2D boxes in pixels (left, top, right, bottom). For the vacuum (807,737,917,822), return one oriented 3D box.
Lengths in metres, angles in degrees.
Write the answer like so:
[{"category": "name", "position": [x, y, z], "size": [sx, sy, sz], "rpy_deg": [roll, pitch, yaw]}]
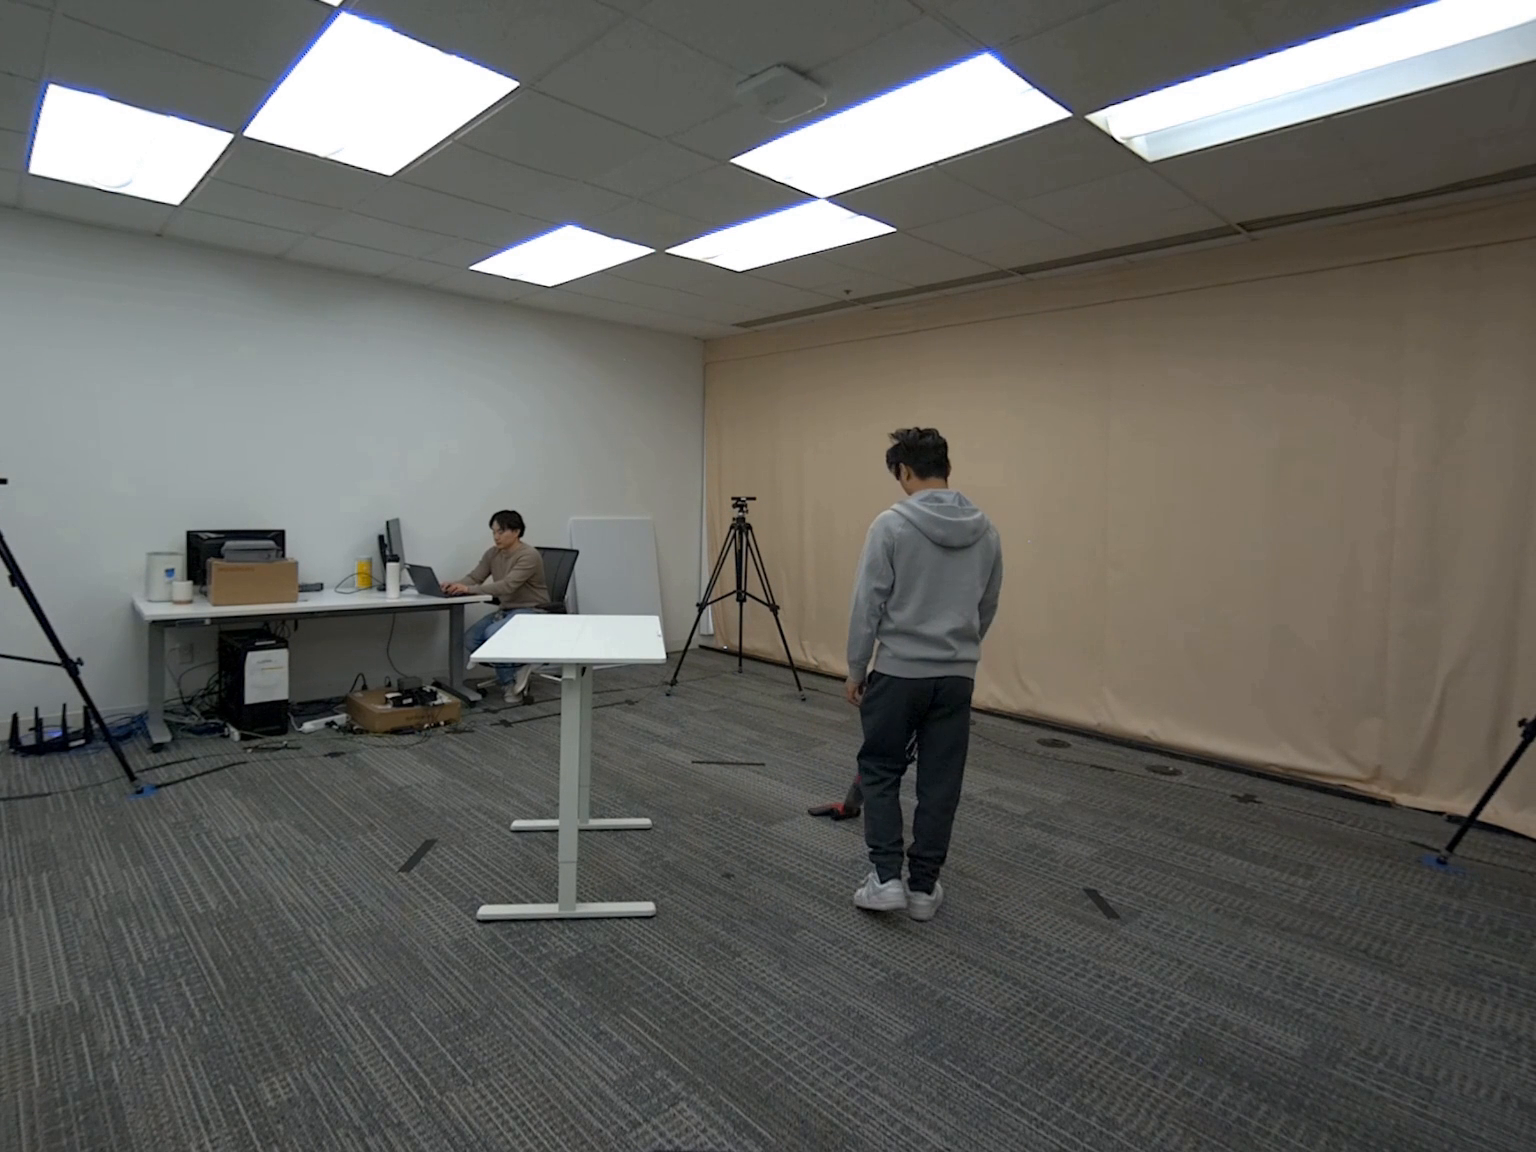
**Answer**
[{"category": "vacuum", "position": [0.498, 0.736, 3.410], "size": [0.247, 0.148, 1.042], "rpy_deg": [0, -39, -30]}]
